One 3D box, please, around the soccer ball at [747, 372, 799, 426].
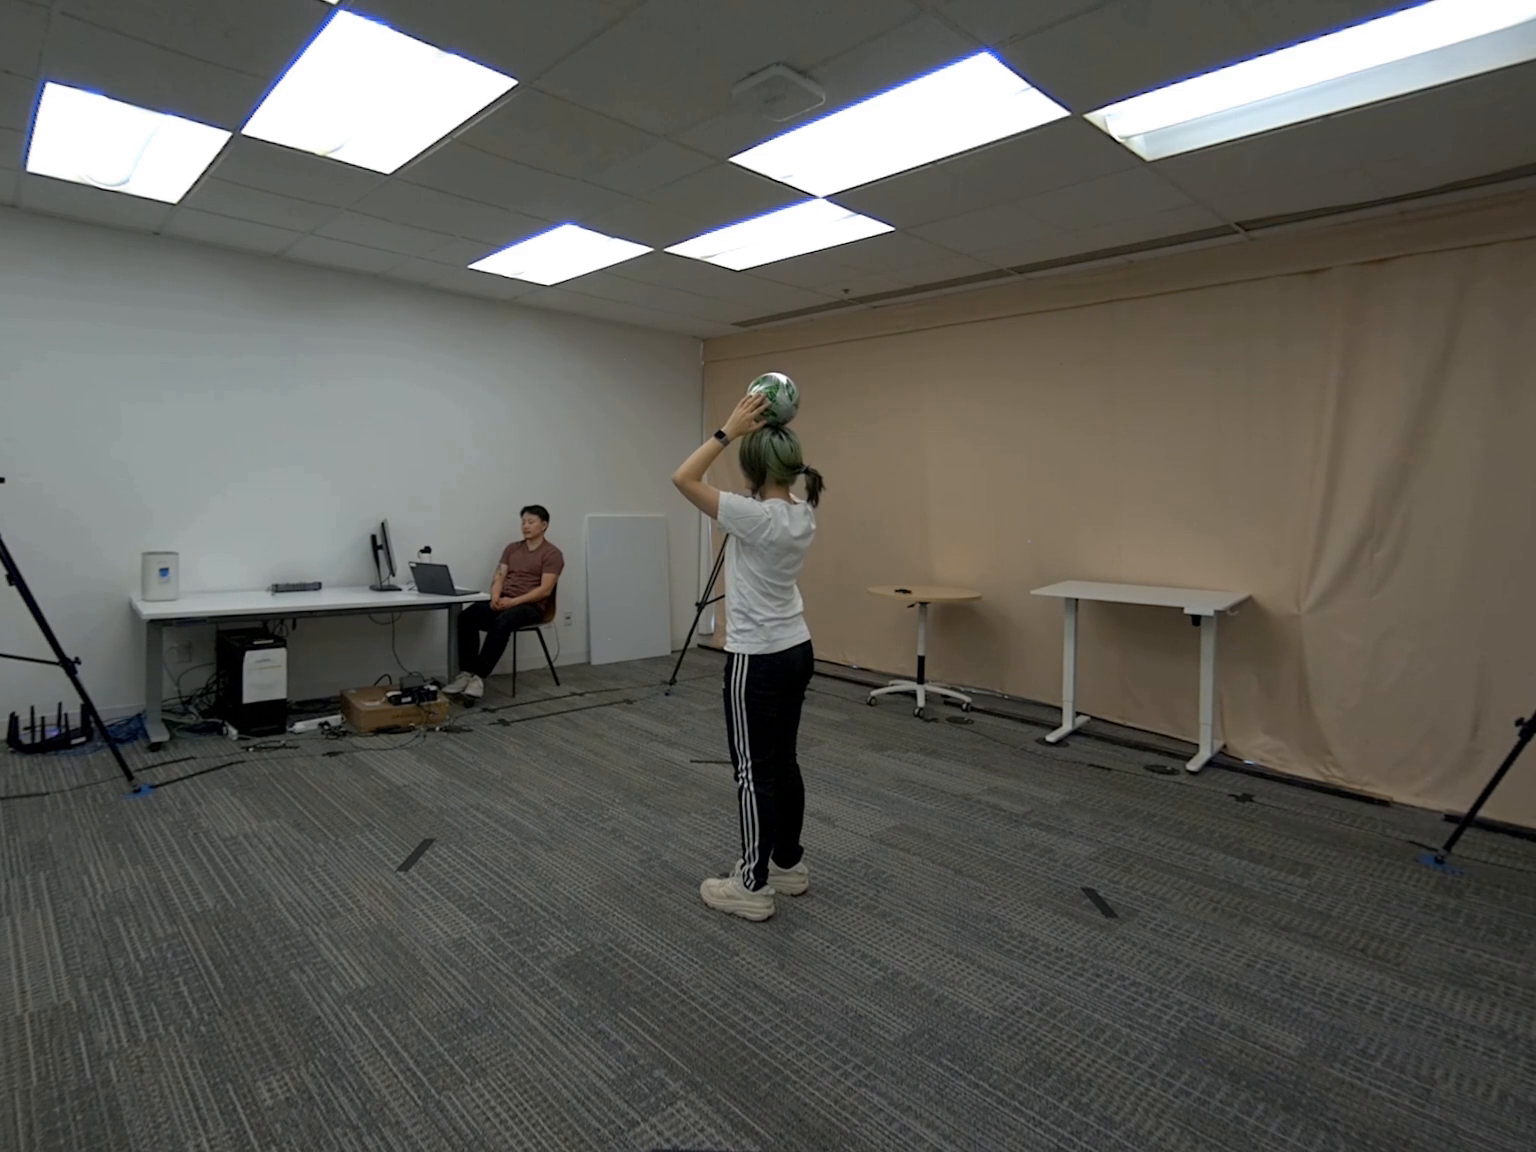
[{"bbox_3d":[0.011,-0.595,2.858,0.187,0.187,0.188,1,4,-1],"label":"soccer ball"}]
